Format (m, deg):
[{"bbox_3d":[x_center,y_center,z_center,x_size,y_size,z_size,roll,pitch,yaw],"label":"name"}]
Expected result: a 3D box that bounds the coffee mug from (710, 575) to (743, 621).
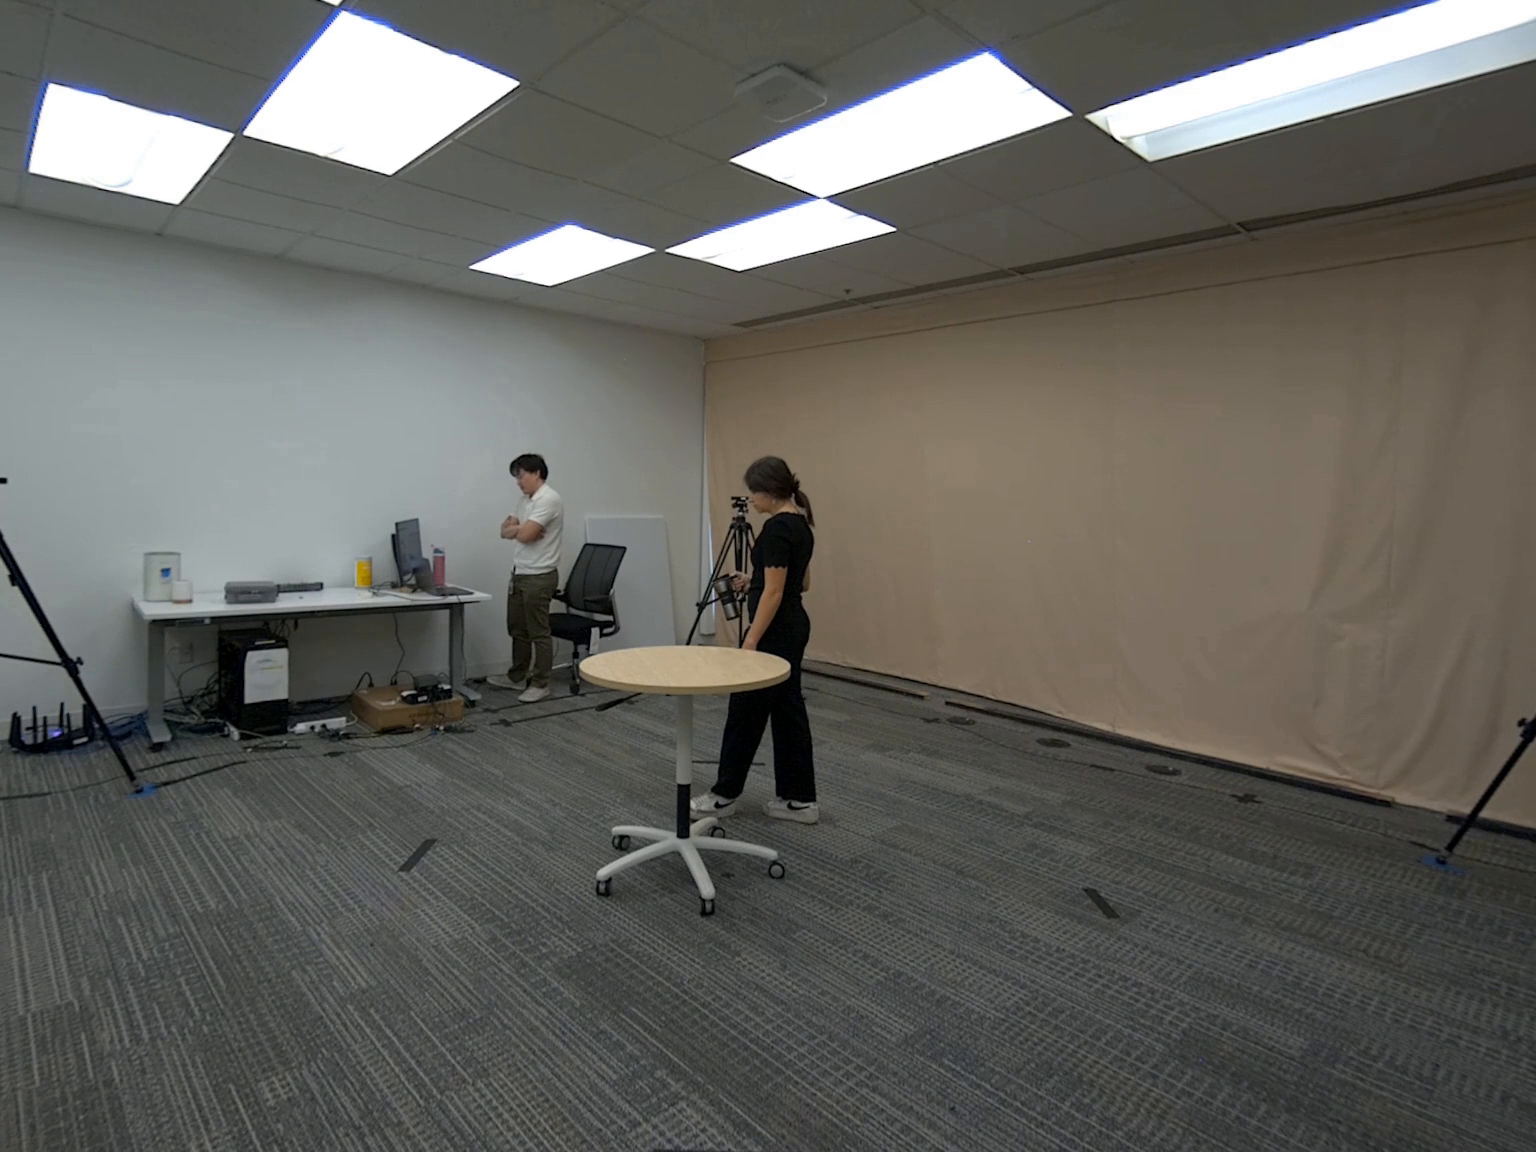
[{"bbox_3d":[-0.186,0.092,3.826,0.124,0.203,0.086,-18,-2,42],"label":"coffee mug"}]
